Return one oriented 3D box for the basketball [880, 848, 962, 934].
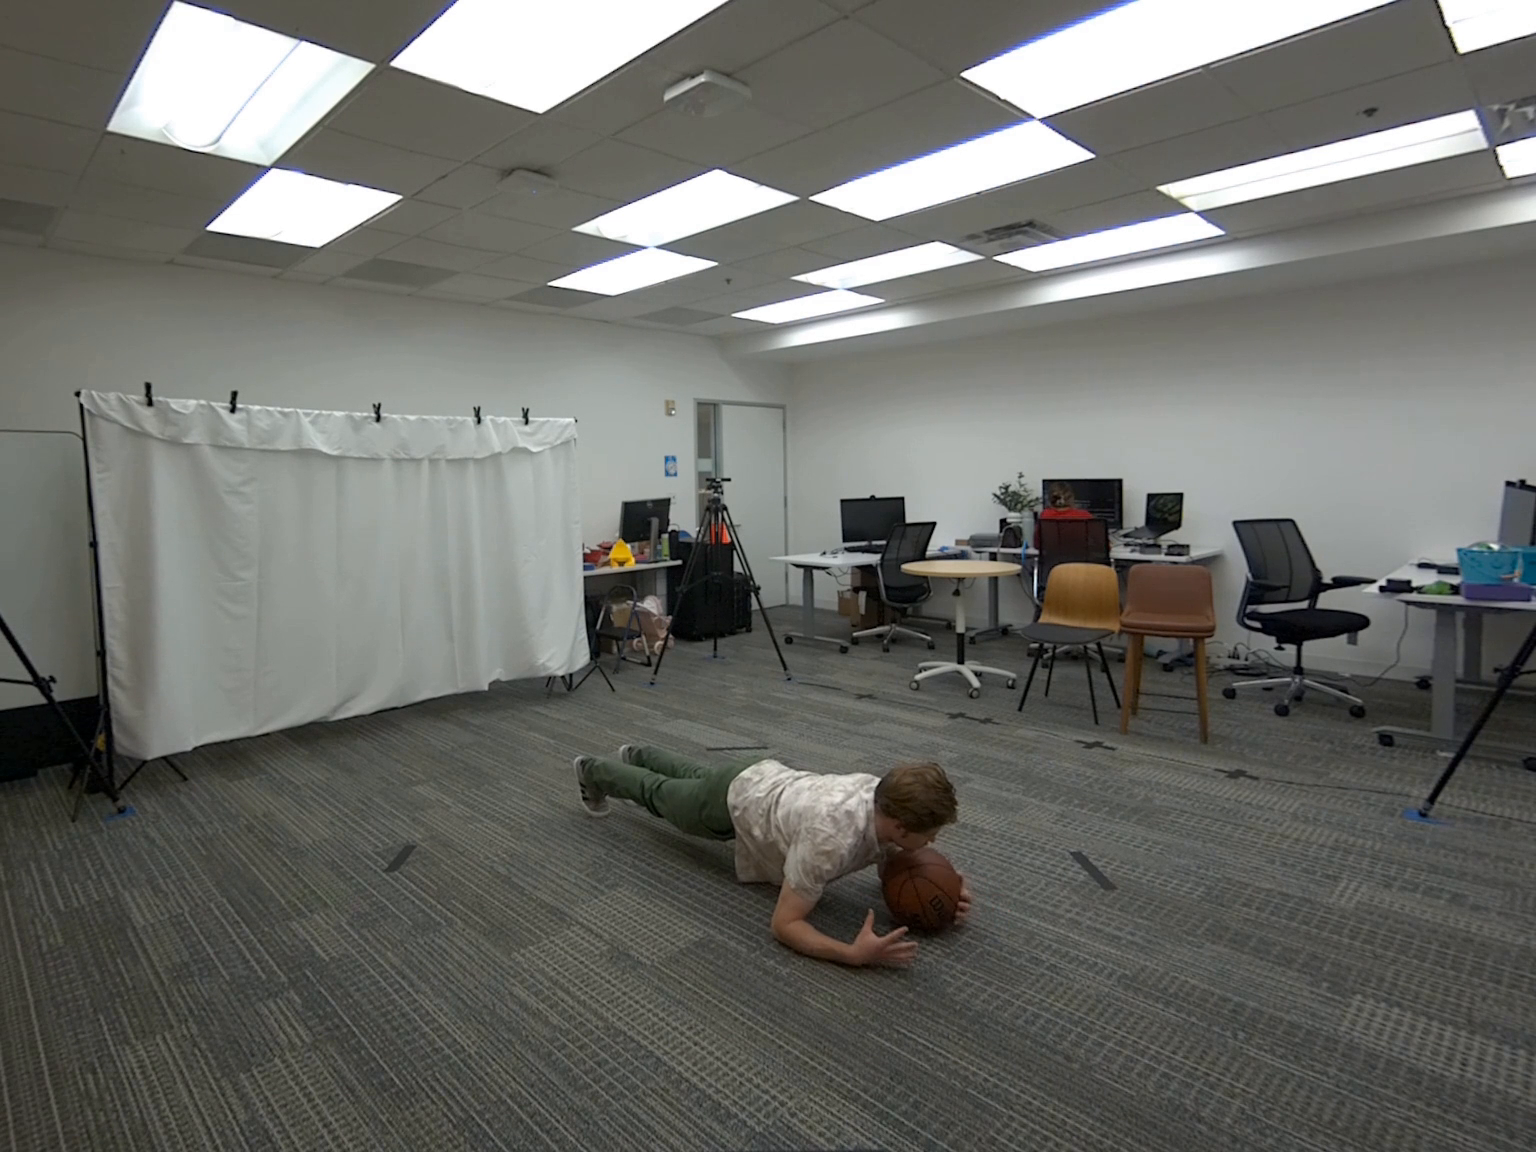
[{"bbox_3d":[0.474,0.963,2.642,0.236,0.235,0.237,-1,5,-2],"label":"basketball"}]
